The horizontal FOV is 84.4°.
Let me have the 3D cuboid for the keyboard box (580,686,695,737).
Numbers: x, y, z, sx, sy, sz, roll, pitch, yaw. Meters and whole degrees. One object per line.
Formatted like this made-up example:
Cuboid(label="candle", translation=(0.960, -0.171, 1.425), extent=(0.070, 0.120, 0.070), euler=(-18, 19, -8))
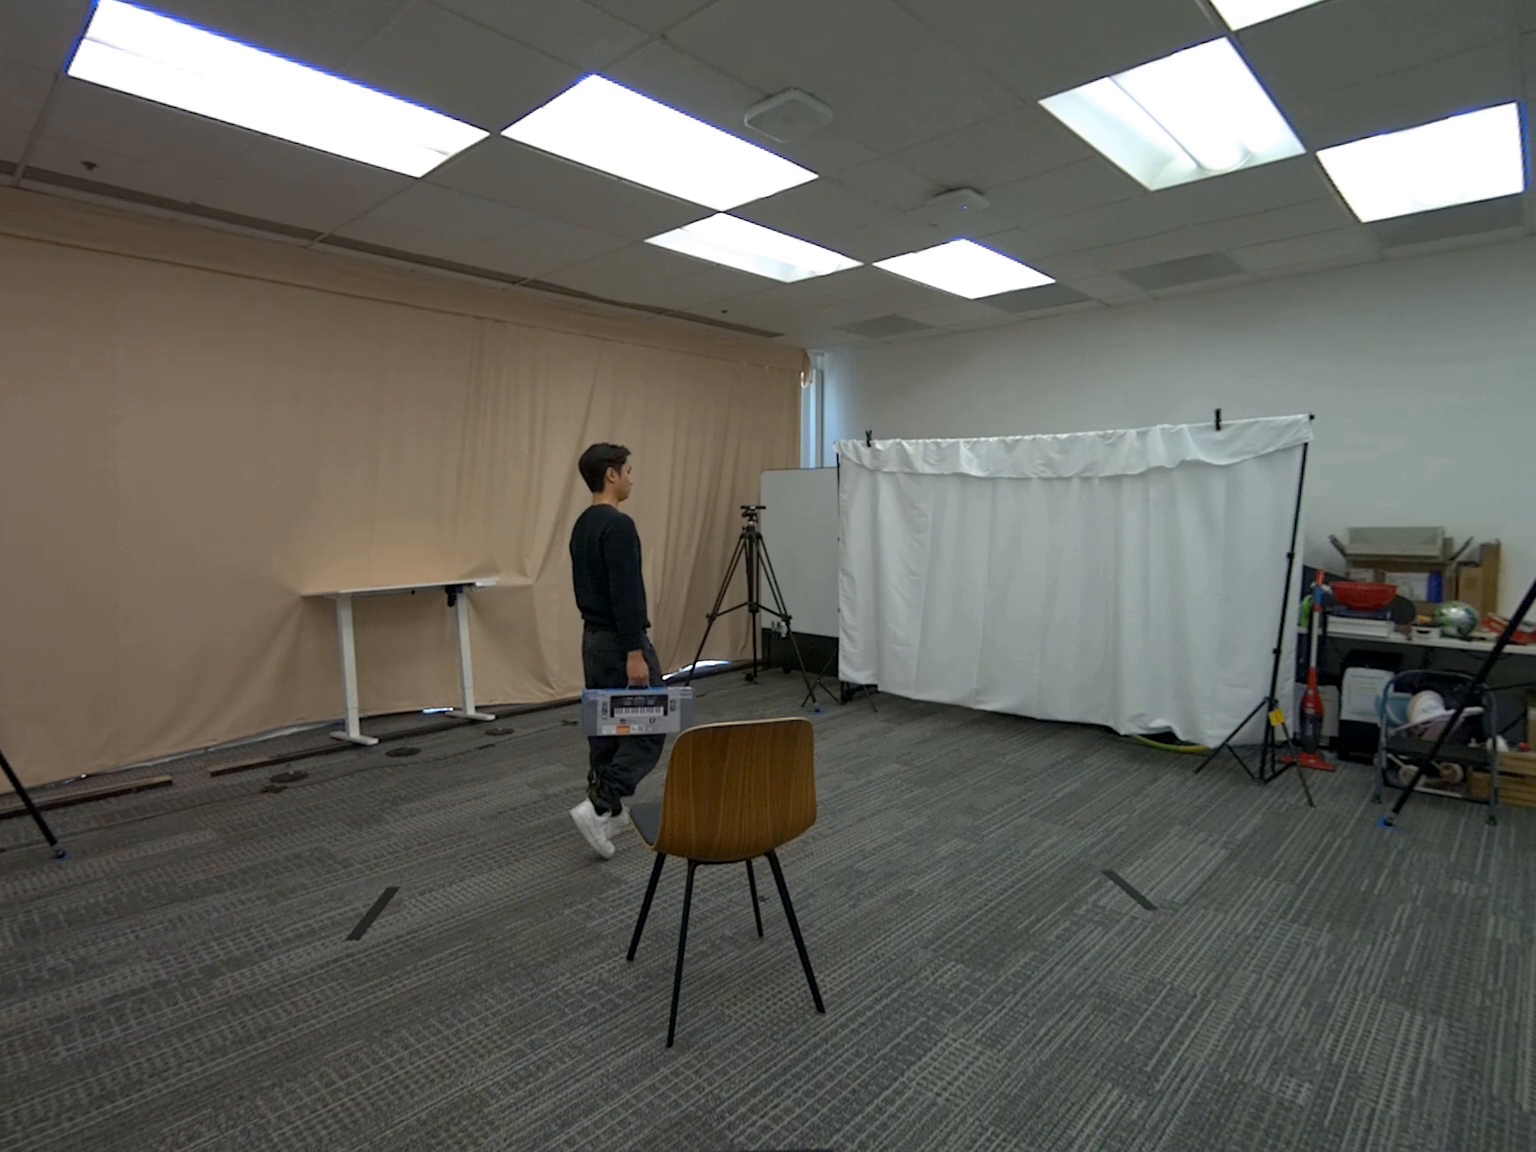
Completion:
Cuboid(label="keyboard box", translation=(-0.506, 0.527, 3.296), extent=(0.431, 0.176, 0.060), euler=(0, 2, -12))
